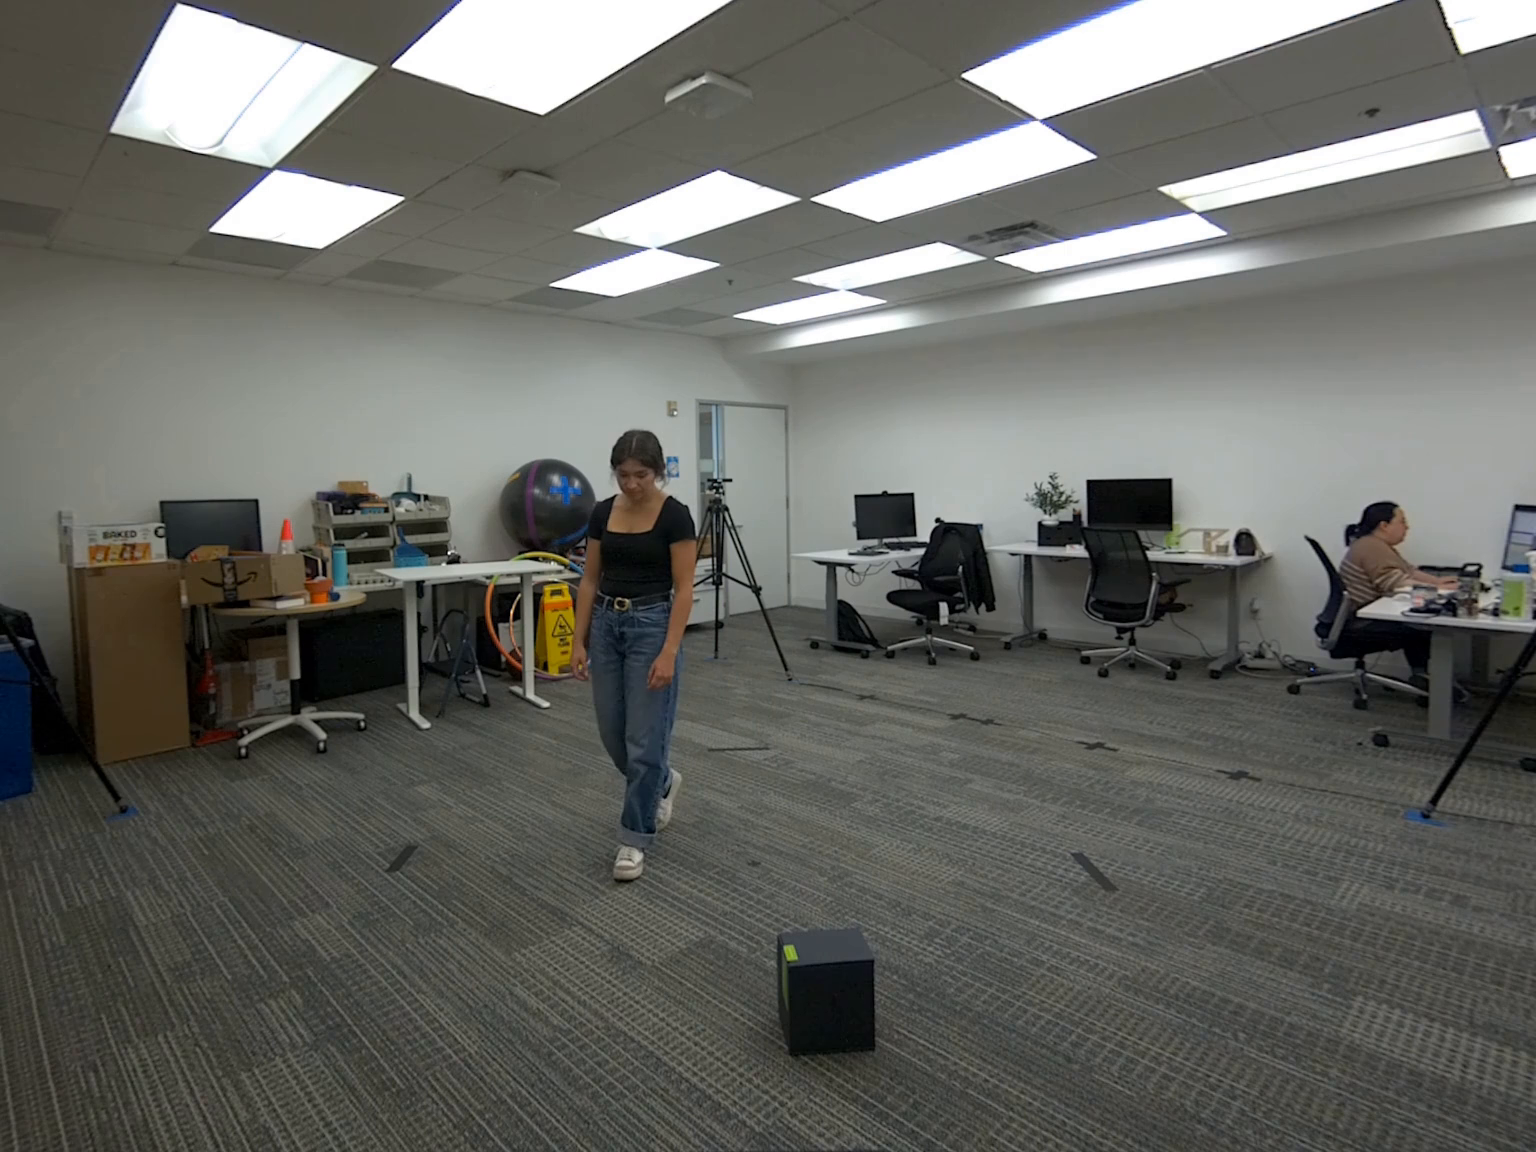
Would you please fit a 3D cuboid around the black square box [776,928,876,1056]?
[{"bbox_3d":[0.153,1.035,2.145,0.216,0.227,0.157,-2,4,-6],"label":"black square box"}]
